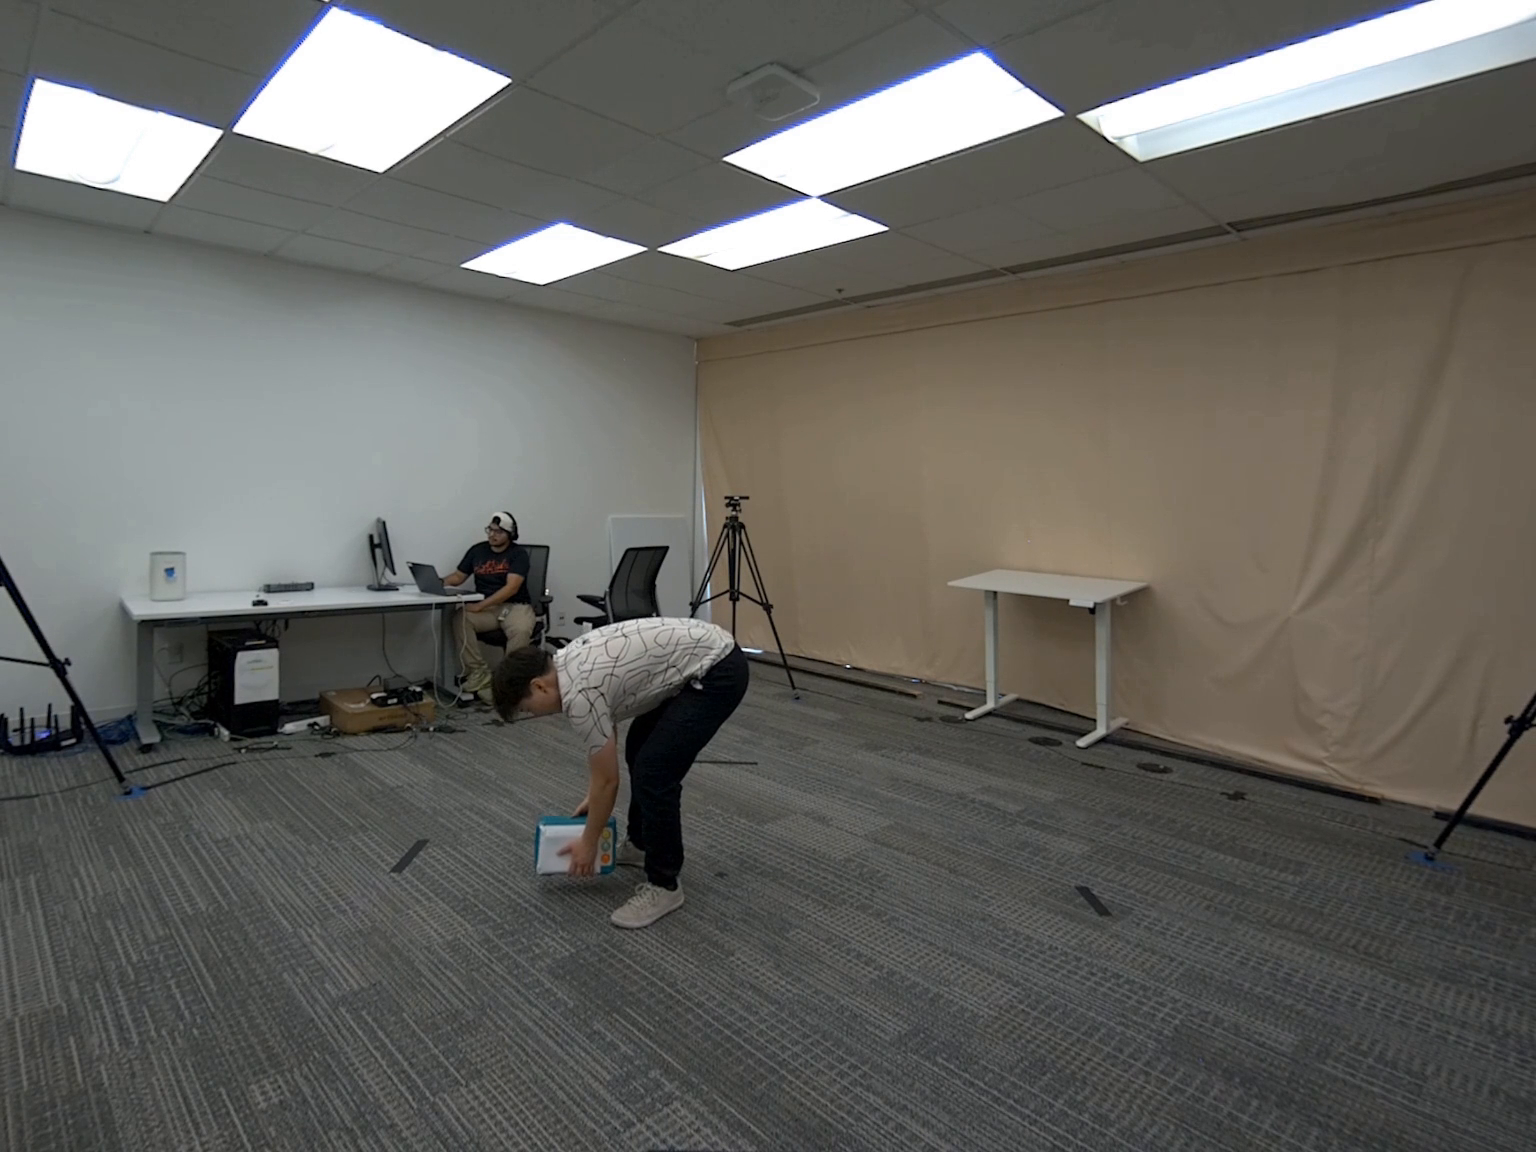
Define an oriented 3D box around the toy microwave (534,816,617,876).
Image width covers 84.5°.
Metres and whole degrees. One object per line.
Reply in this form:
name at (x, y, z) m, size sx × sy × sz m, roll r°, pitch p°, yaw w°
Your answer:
toy microwave at (-0.687, 0.947, 2.969) m, size 0.284 × 0.185 × 0.152 m, roll 1°, pitch -5°, yaw -7°
